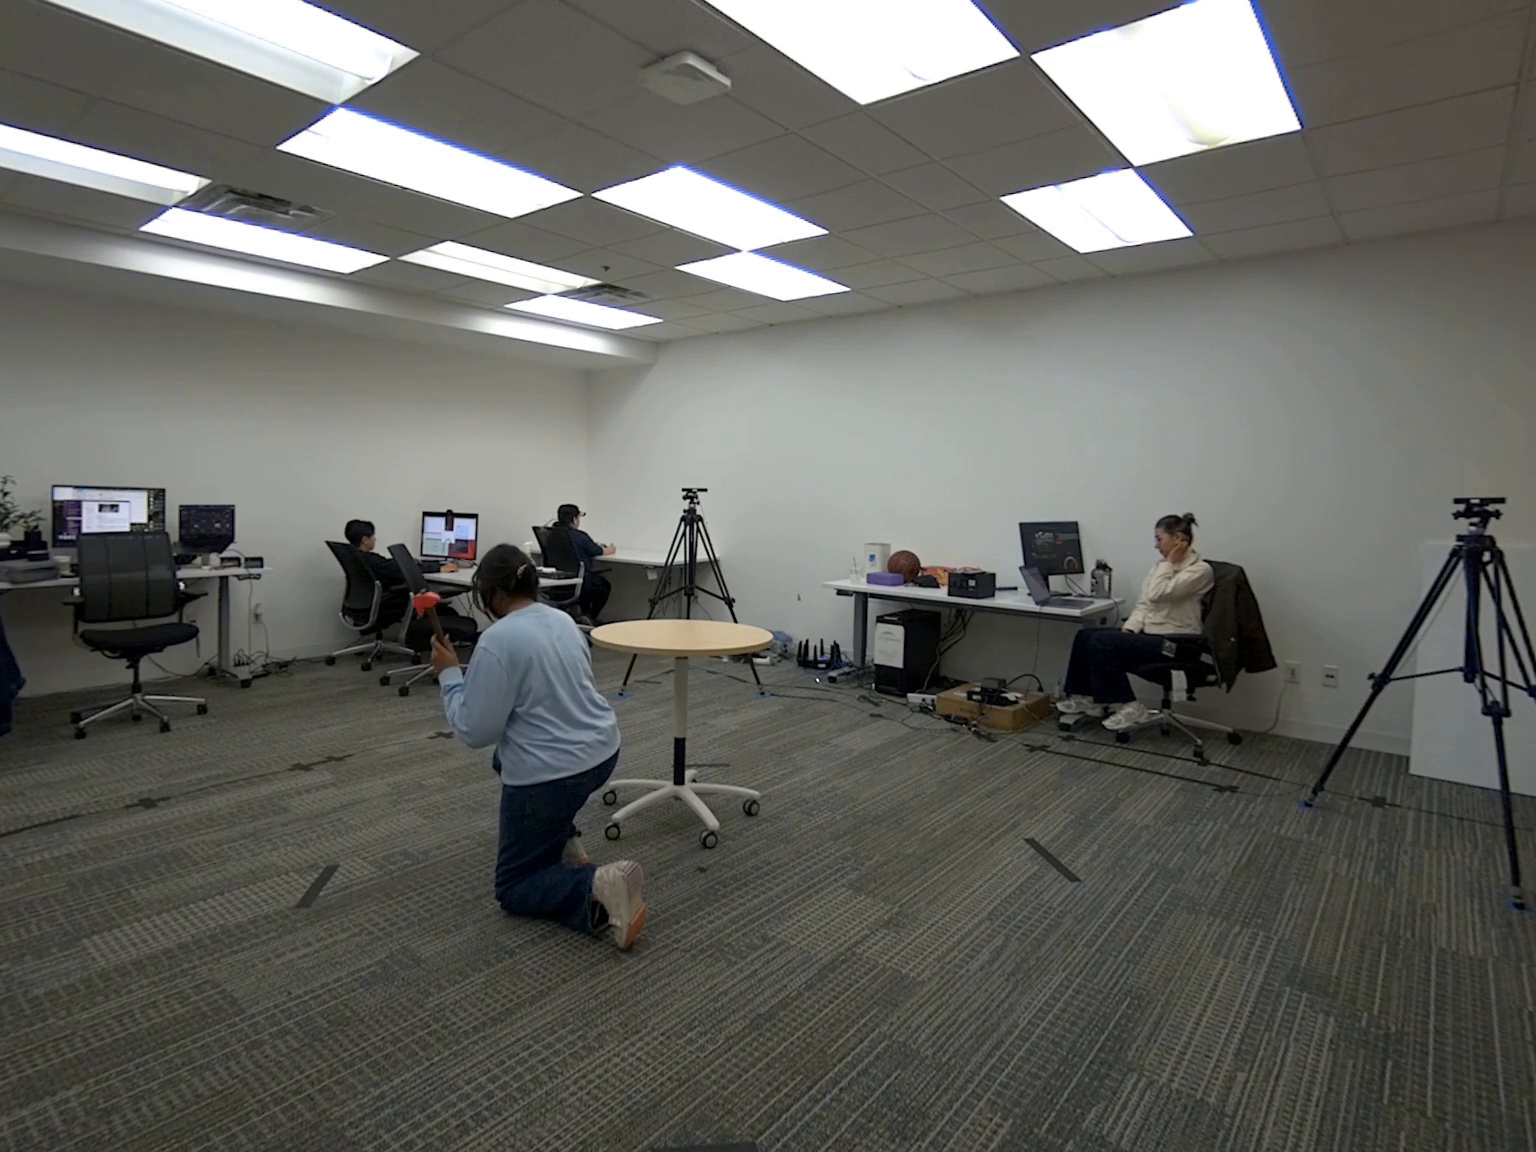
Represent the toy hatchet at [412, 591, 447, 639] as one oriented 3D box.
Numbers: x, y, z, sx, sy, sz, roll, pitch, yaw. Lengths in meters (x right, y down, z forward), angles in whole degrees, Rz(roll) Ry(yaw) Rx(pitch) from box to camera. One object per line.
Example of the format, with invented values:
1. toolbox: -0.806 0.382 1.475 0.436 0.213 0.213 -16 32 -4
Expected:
1. toy hatchet: -1.102 0.179 2.773 0.133 0.266 0.029 11 19 15
